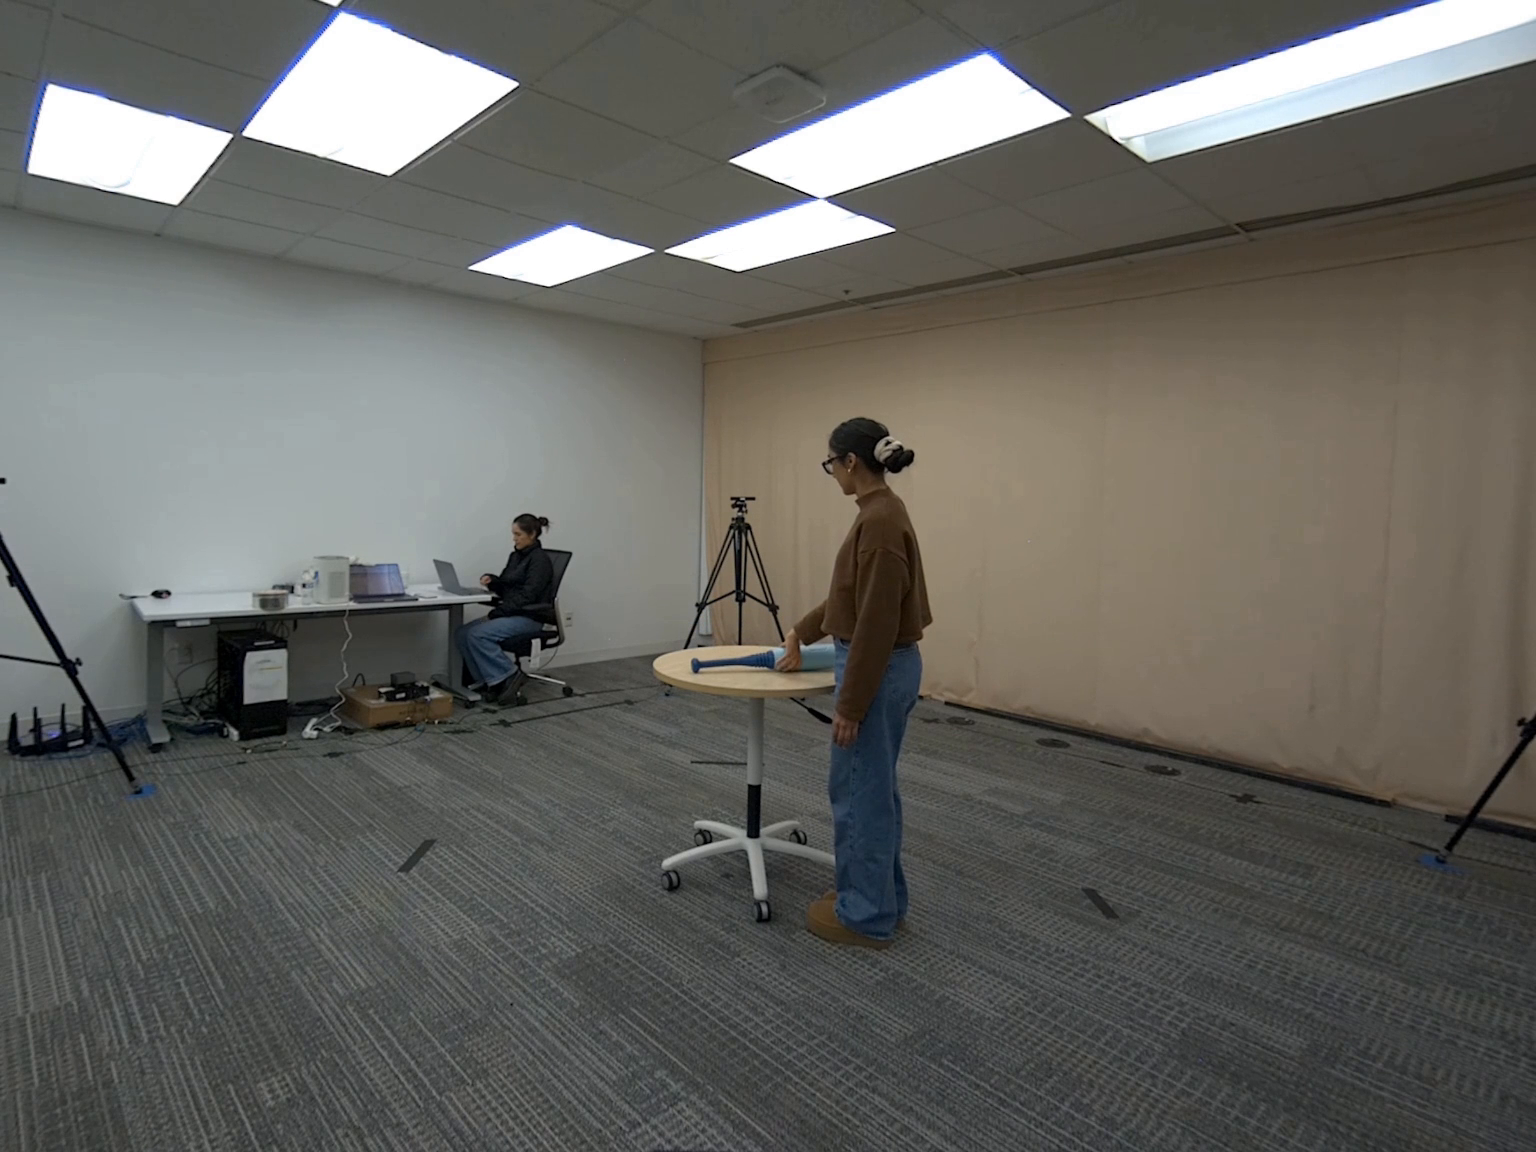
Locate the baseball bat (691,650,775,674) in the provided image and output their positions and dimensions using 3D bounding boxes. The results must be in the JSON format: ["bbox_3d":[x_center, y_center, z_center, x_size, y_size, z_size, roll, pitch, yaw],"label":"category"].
[{"bbox_3d":[-0.008,0.304,2.980,0.537,0.089,0.090,-3,5,-15],"label":"baseball bat"}]
